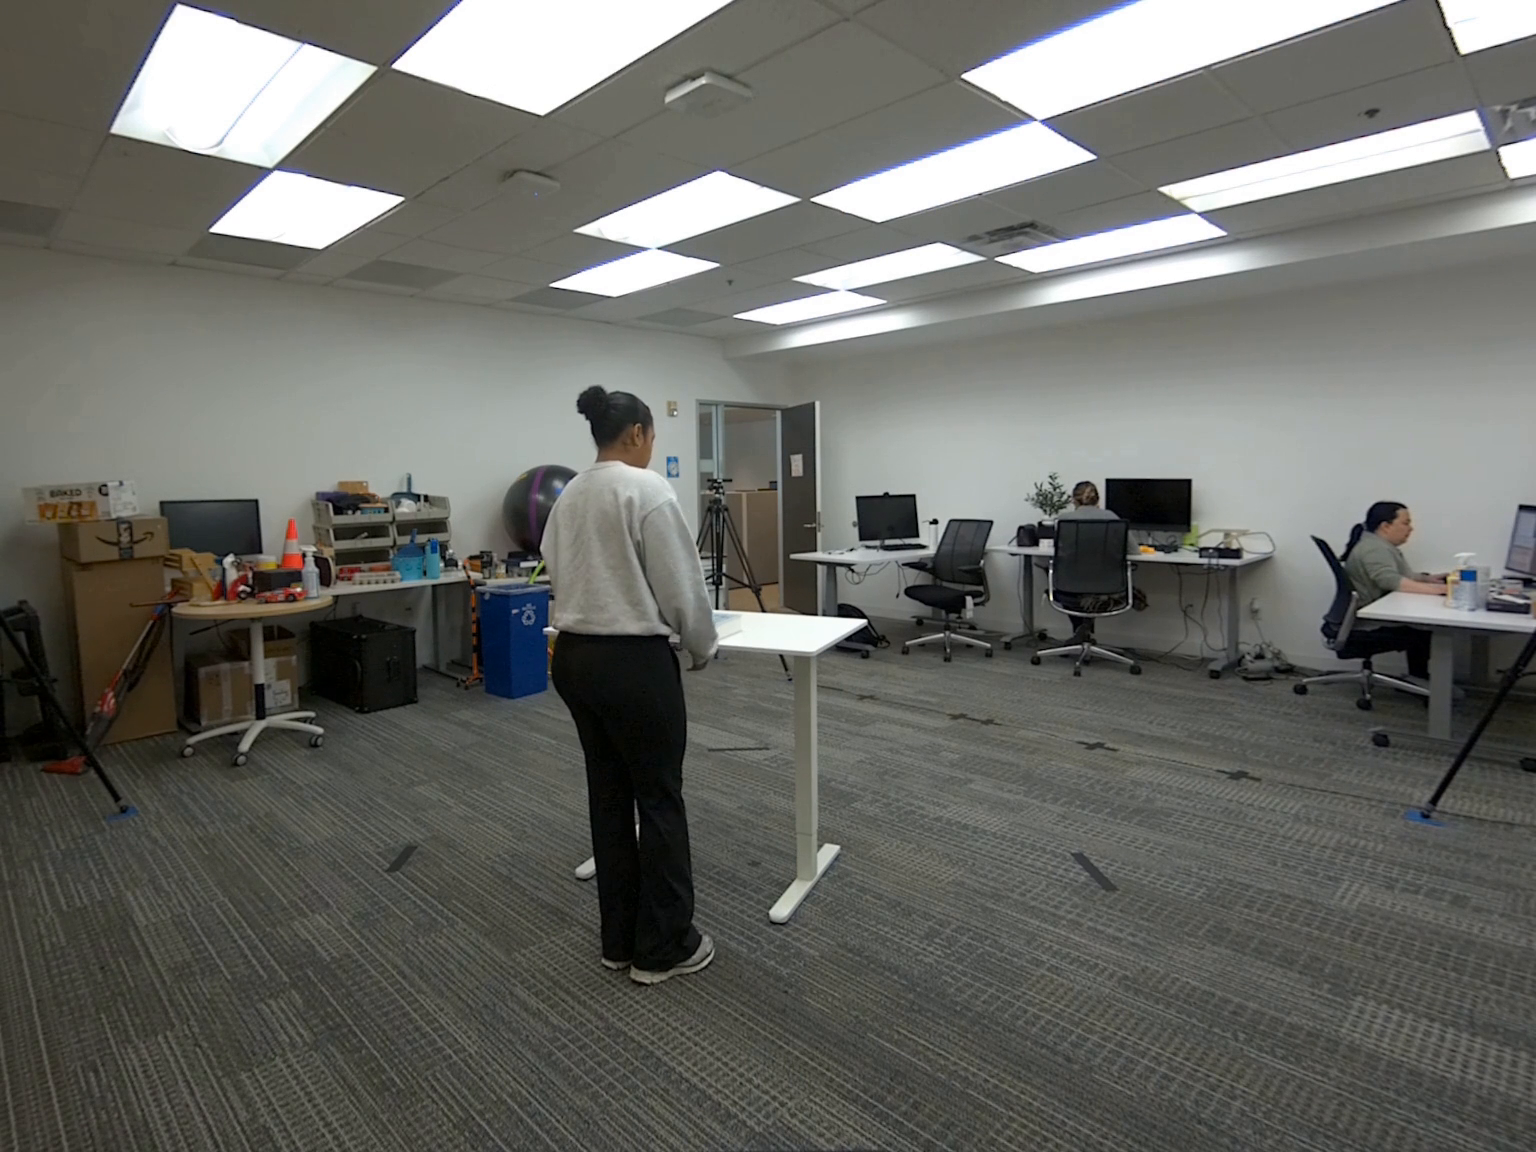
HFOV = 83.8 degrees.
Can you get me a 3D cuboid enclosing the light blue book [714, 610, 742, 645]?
[{"bbox_3d":[-0.227,0.175,2.832,0.196,0.059,0.256,3,8,27],"label":"light blue book"}]
